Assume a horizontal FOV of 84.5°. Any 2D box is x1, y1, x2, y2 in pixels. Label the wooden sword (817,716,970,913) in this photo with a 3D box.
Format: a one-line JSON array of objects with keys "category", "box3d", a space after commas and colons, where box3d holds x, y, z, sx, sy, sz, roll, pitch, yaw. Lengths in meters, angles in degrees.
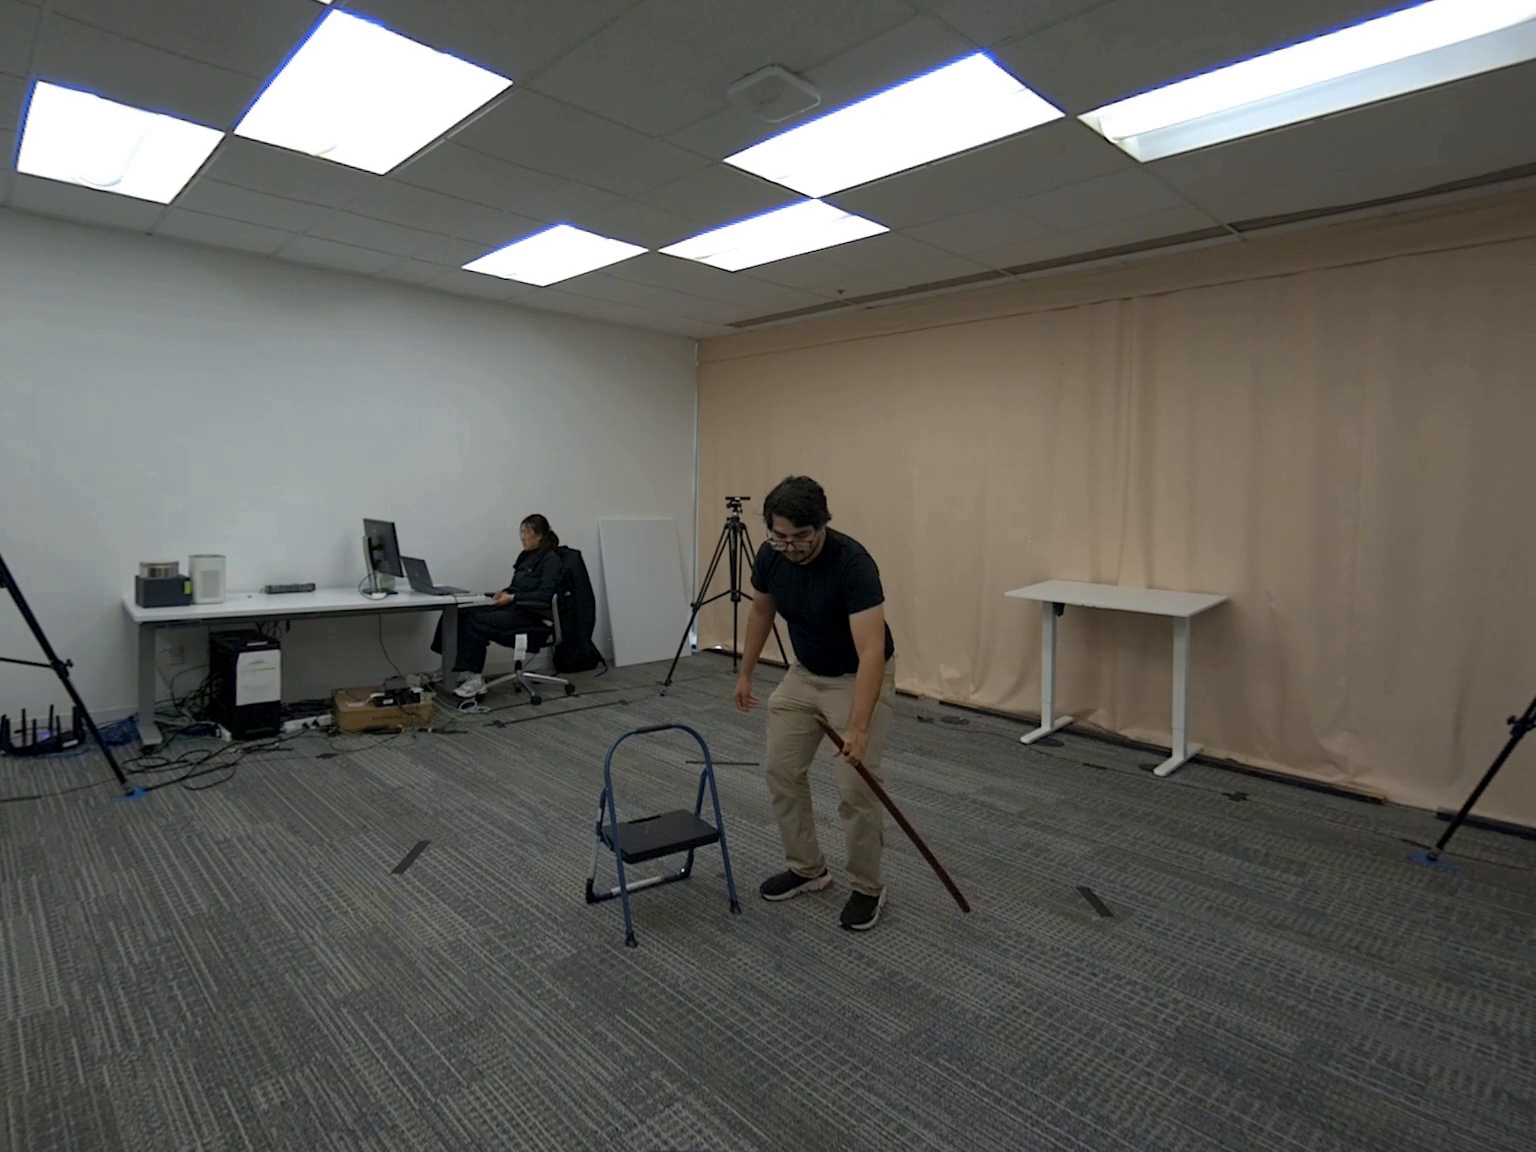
[{"category": "wooden sword", "box3d": [0.410, 0.758, 2.555, 0.024, 0.997, 0.052, -20, 33, 26]}]
